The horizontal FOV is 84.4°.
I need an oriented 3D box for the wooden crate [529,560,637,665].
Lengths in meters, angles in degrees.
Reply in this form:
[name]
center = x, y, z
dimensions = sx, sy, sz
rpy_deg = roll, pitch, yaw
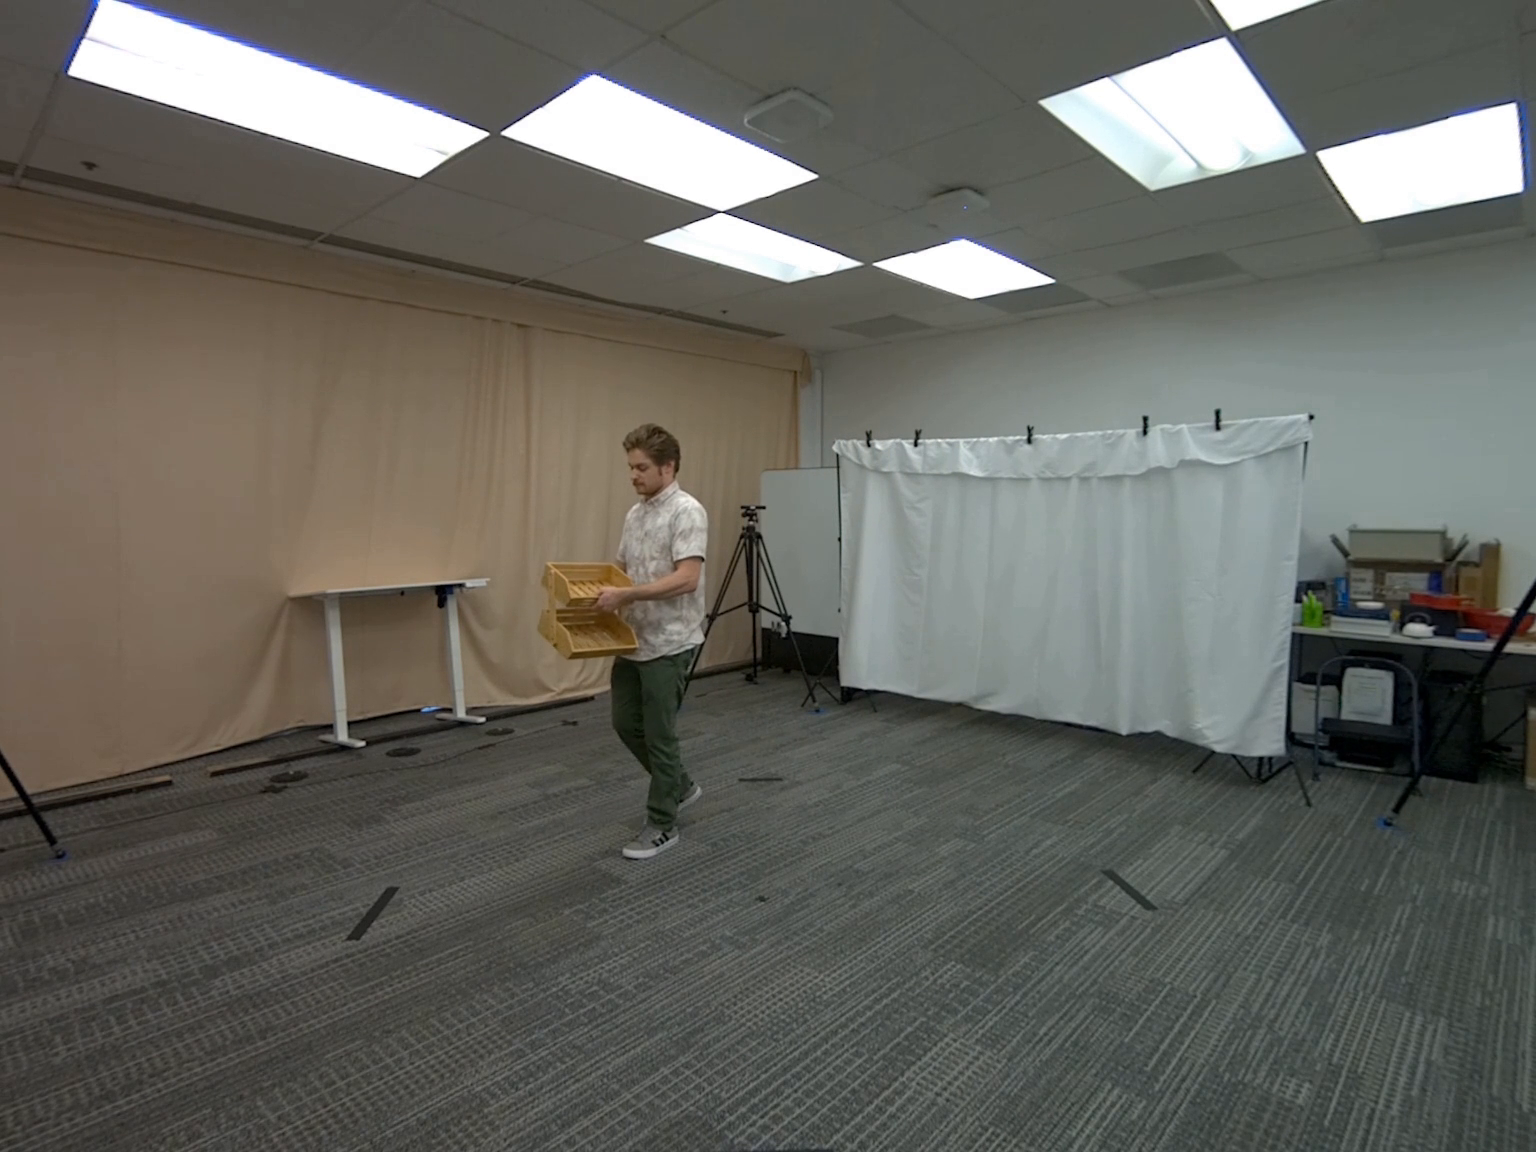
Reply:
[wooden crate]
center = -0.657, 0.128, 3.196
dimensions = 0.314, 0.272, 0.313
rpy_deg = 2, 22, -46
